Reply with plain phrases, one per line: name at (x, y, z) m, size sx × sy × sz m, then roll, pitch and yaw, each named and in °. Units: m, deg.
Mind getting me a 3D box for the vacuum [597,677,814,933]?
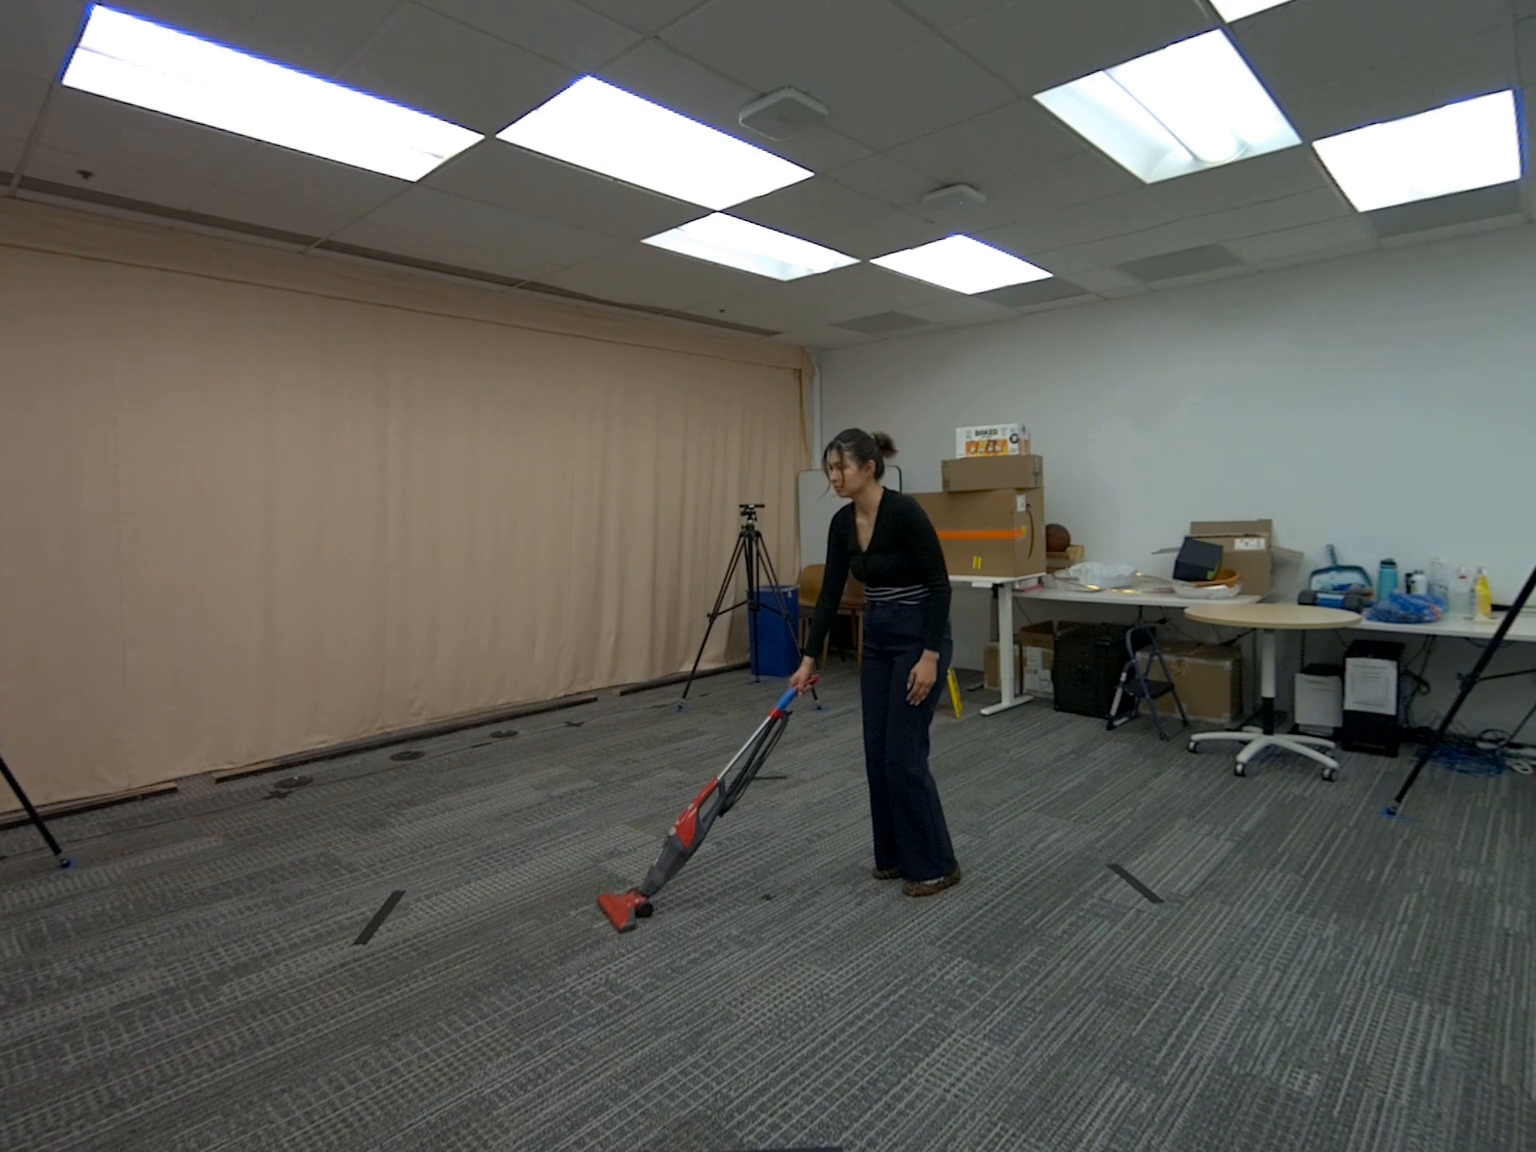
vacuum at (-0.167, 0.771, 3.031) m, size 0.140 × 1.045 × 0.260 m, roll 48°, pitch -18°, yaw -24°
